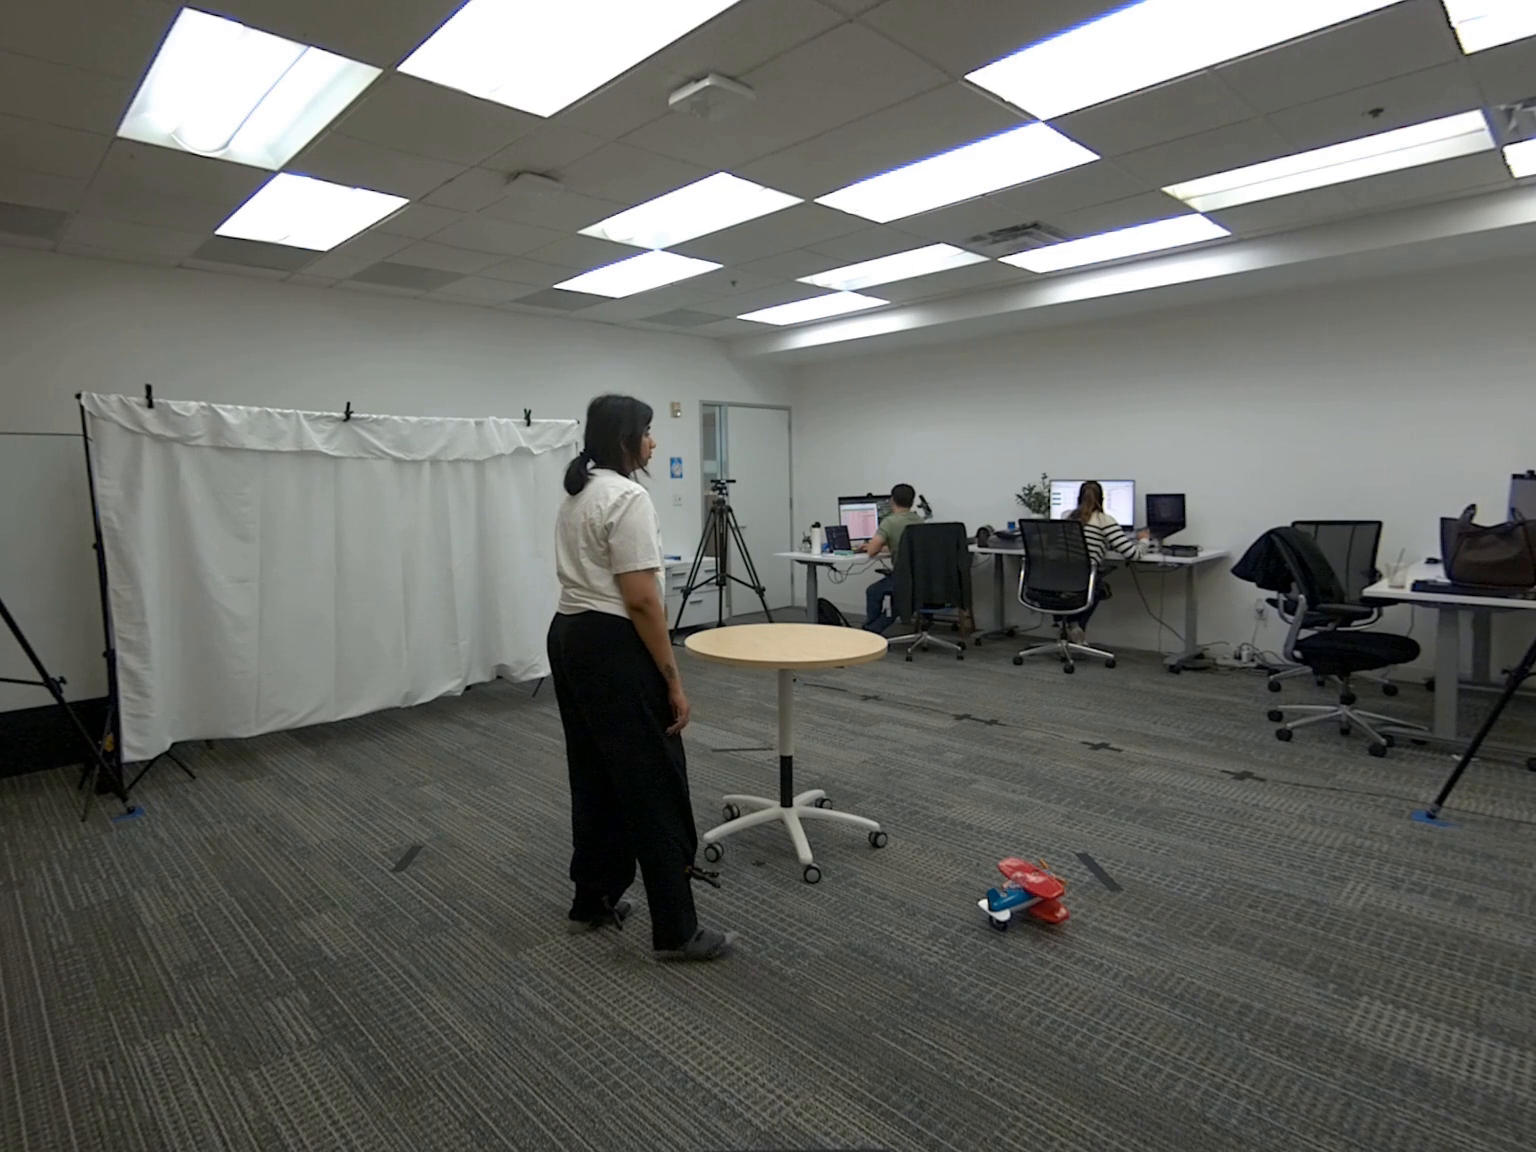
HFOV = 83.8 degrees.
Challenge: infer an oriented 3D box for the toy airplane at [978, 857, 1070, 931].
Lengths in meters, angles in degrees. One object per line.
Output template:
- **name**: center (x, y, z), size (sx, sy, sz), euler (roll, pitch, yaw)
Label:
- **toy airplane**: center (0.815, 1.009, 2.652), size (0.259, 0.156, 0.252), euler (4, 7, 40)
